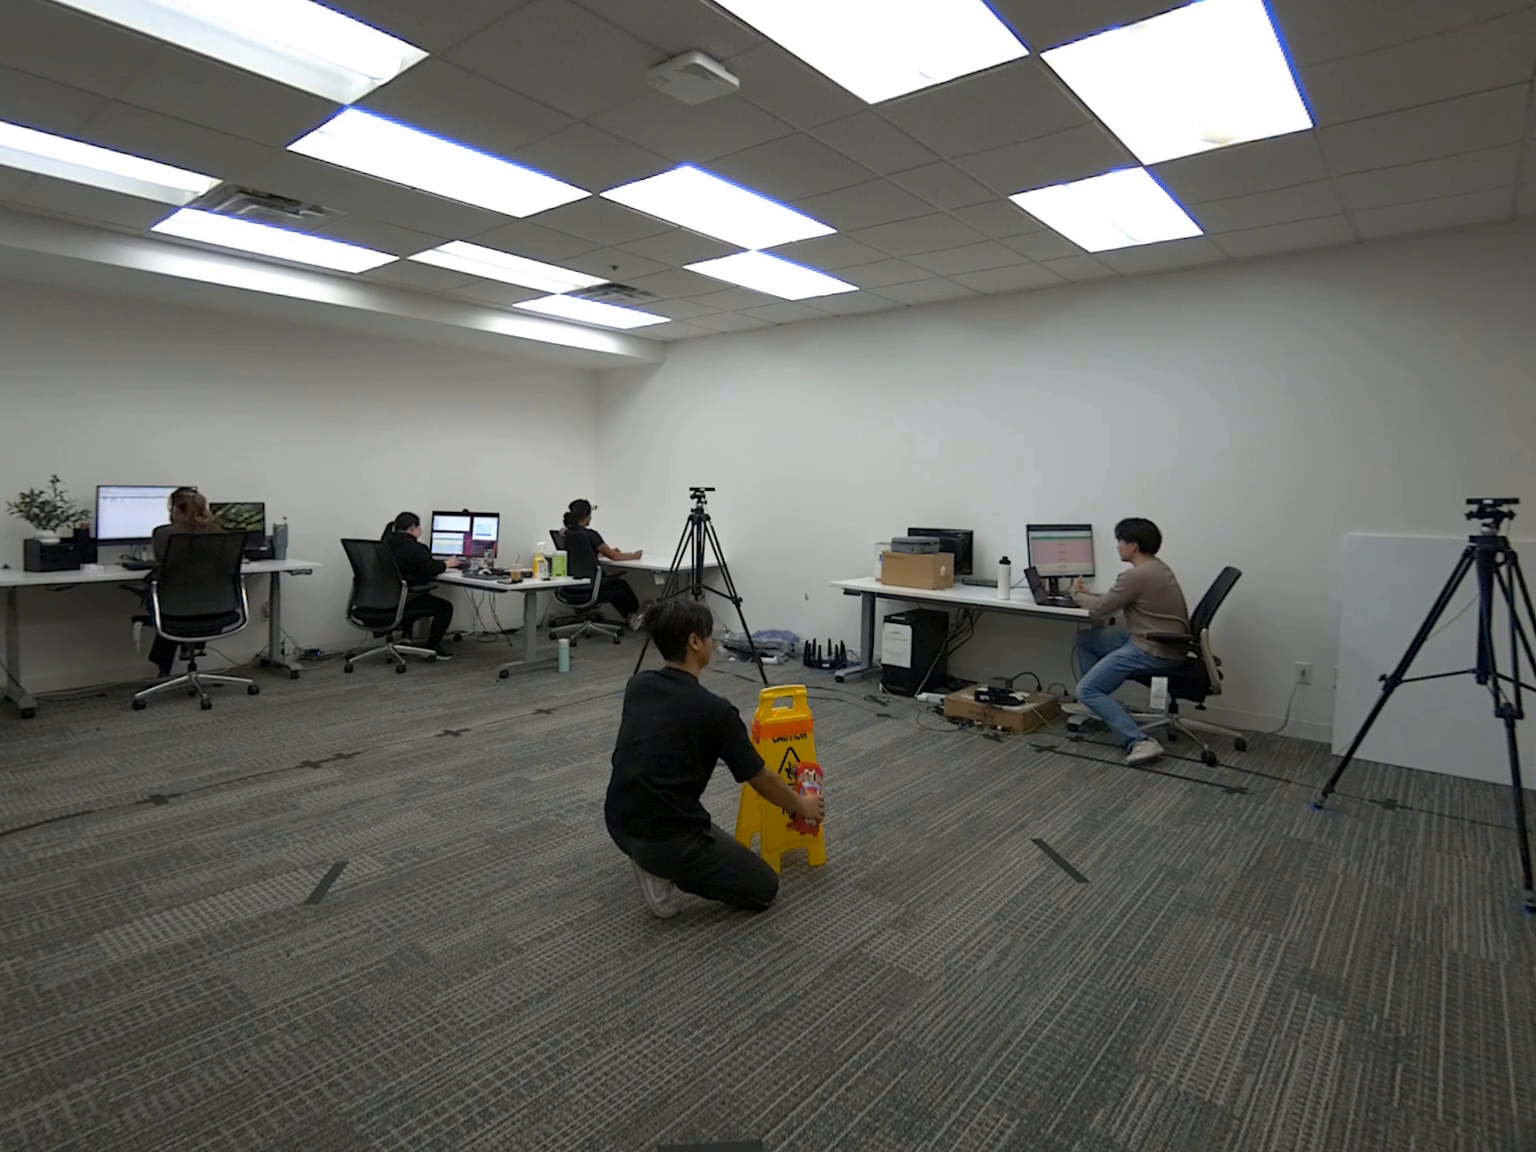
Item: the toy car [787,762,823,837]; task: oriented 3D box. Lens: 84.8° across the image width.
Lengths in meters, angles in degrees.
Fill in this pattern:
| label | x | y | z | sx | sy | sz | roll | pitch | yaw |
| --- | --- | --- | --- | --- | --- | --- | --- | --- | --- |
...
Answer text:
| label | x | y | z | sx | sy | sz | roll | pitch | yaw |
| --- | --- | --- | --- | --- | --- | --- | --- | --- | --- |
| toy car | 0.132 | 0.802 | 3.035 | 0.127 | 0.261 | 0.083 | 8 | -32 | -24 |
